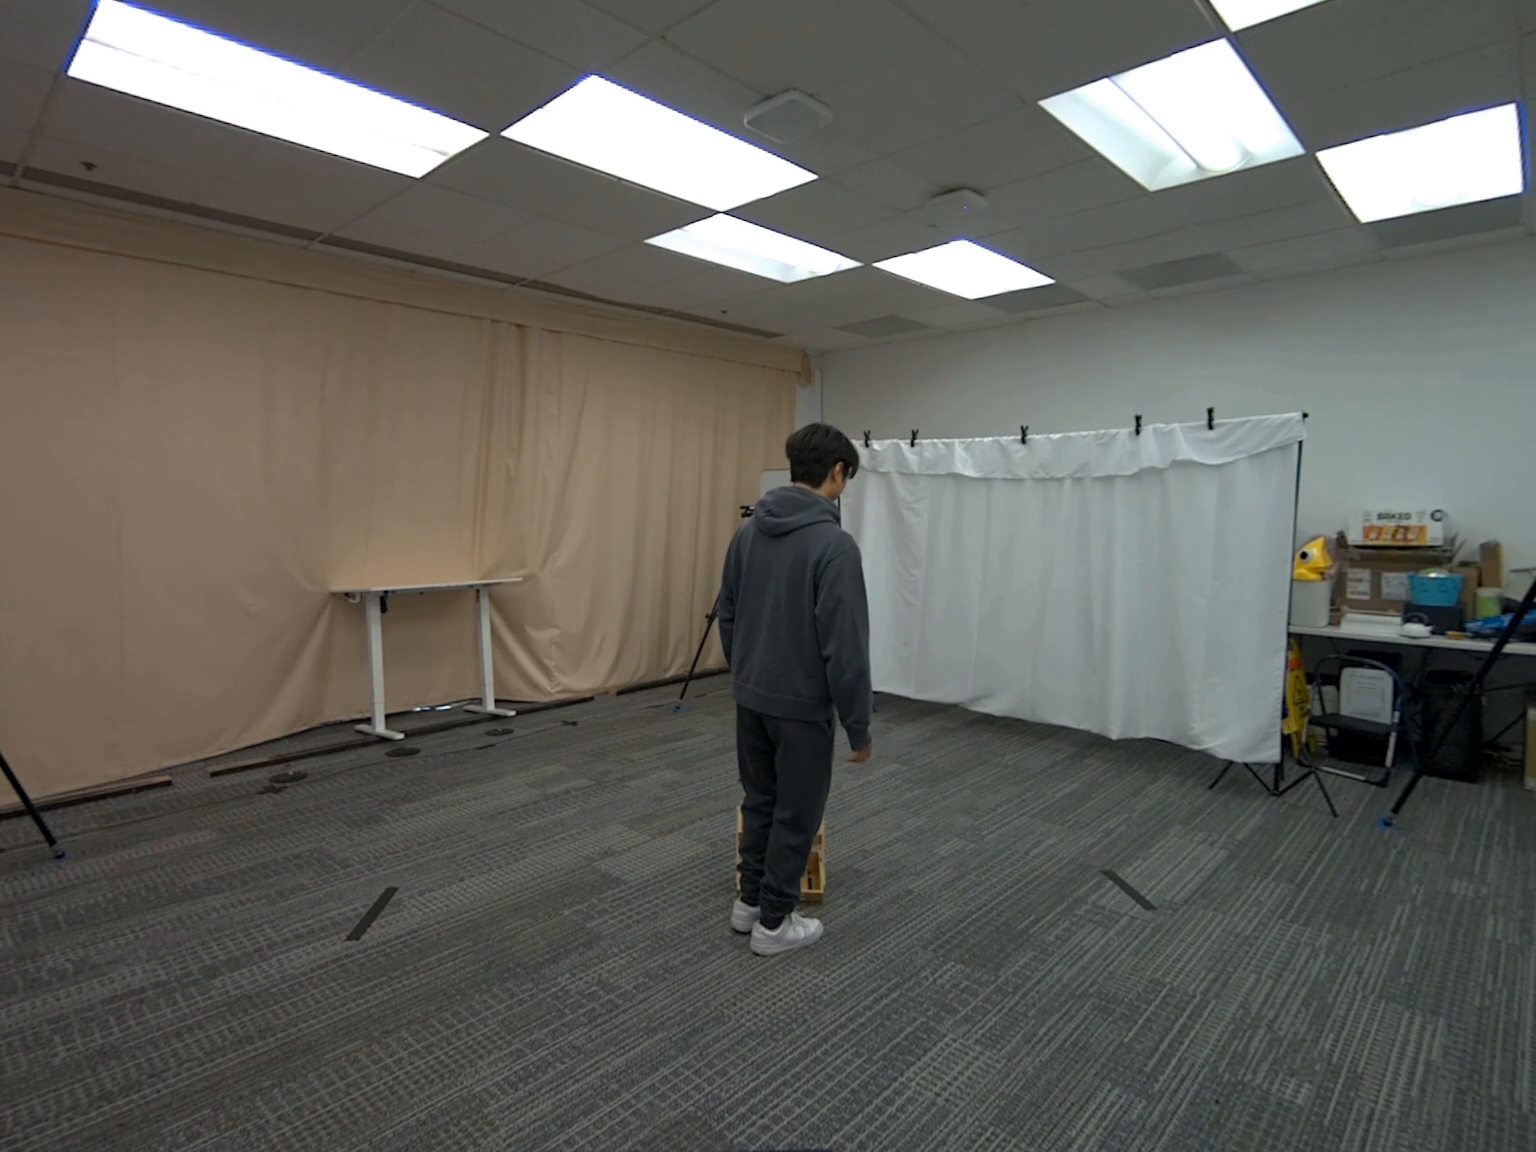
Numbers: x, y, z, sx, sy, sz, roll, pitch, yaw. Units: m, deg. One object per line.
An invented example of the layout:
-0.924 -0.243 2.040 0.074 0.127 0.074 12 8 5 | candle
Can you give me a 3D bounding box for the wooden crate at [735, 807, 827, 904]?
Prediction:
0.052 1.003 3.076 0.326 0.273 0.301 0 3 3 | wooden crate
